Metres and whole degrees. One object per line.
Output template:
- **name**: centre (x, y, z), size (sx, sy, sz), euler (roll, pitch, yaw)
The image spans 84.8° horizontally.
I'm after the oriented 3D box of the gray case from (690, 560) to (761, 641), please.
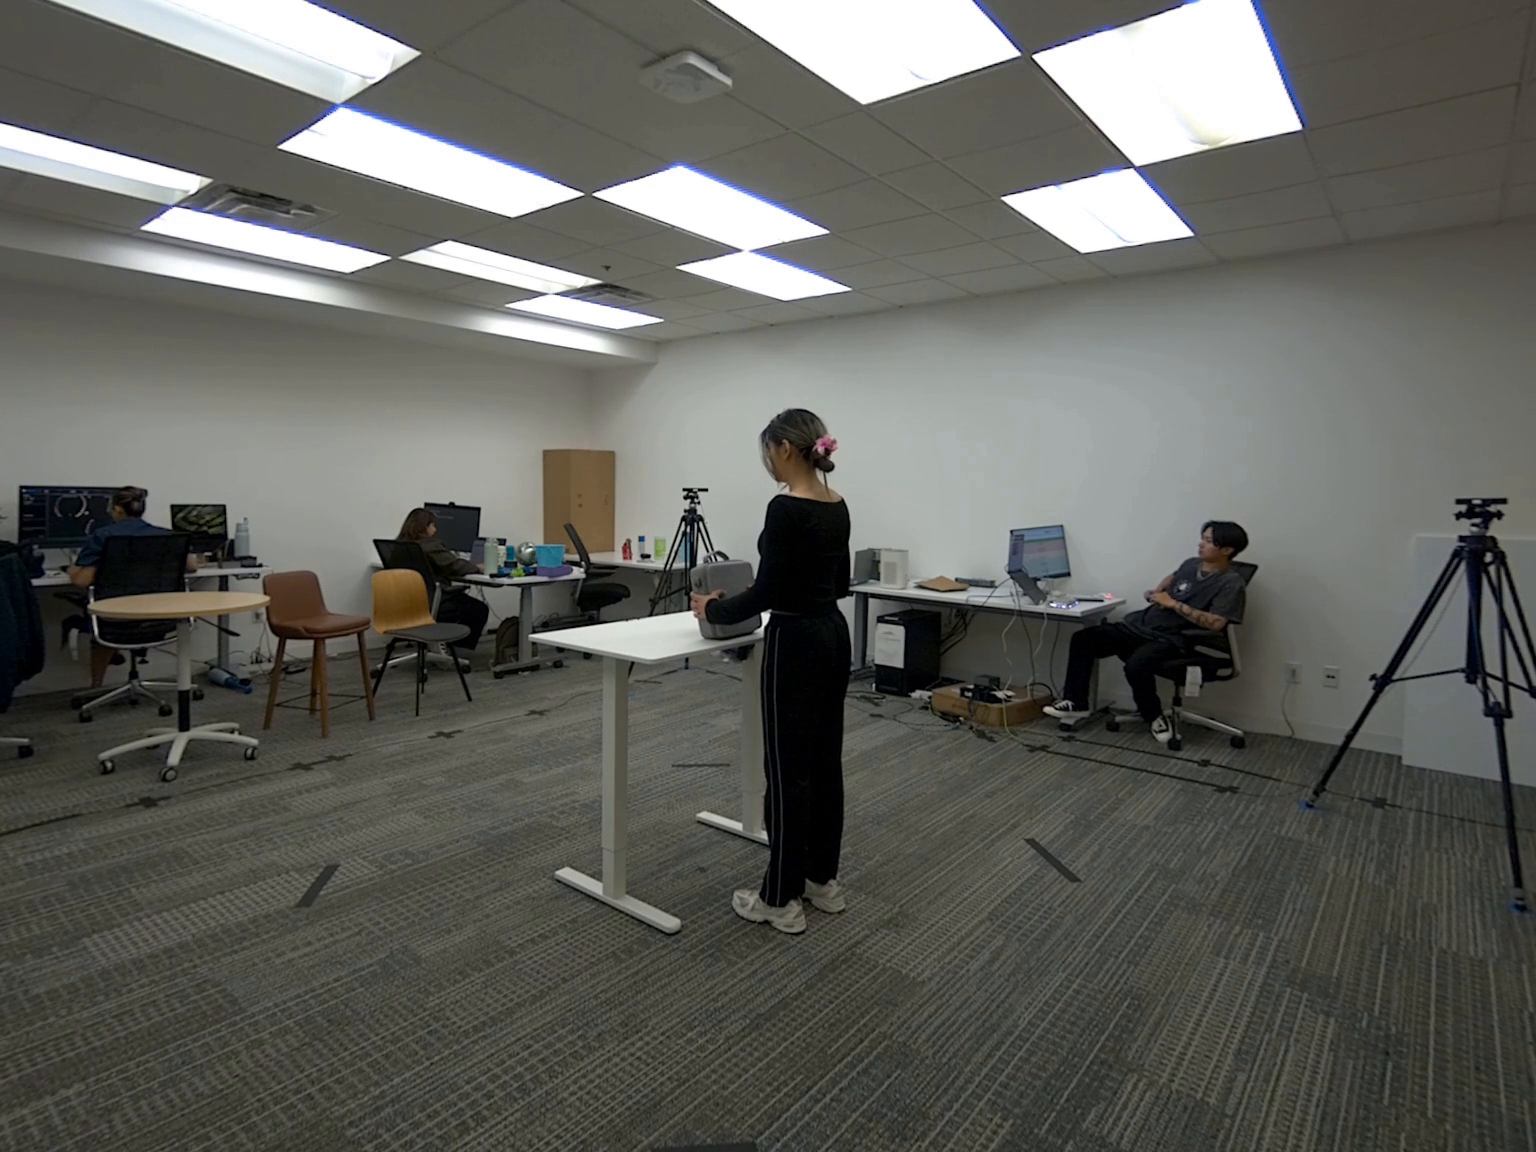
- **gray case**: centre (-0.148, 0.072, 2.939), size (0.107, 0.262, 0.249), euler (-12, -5, 36)
